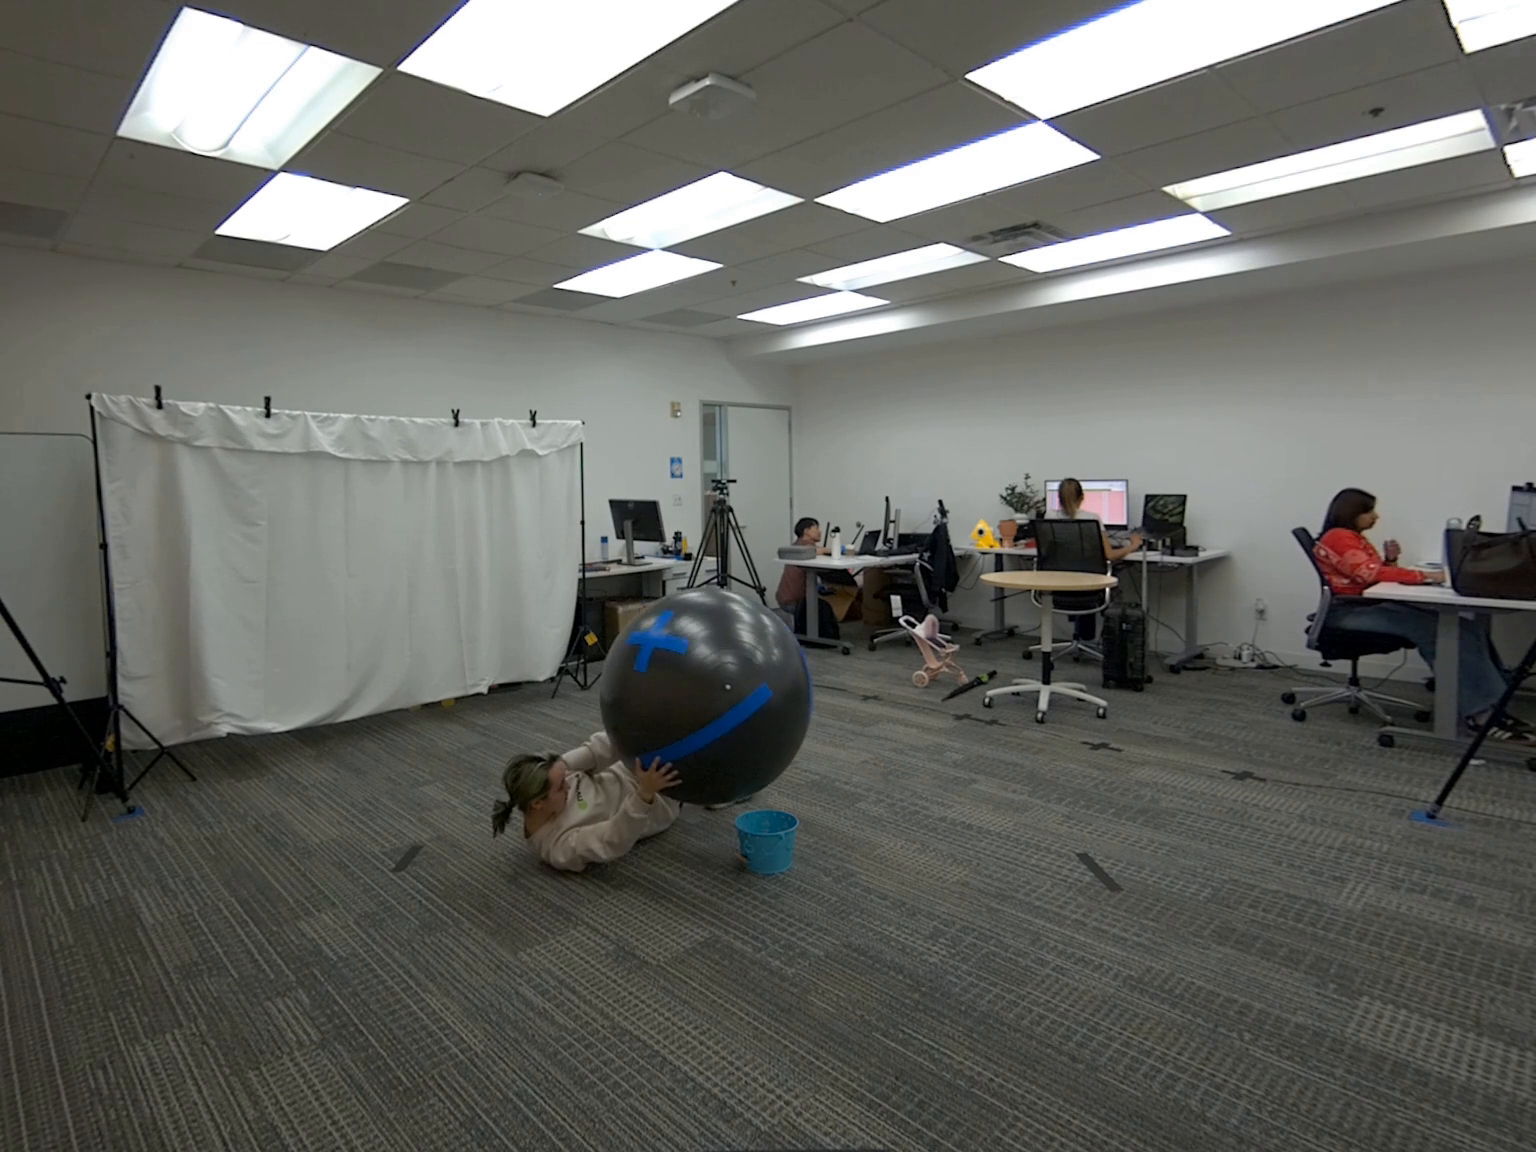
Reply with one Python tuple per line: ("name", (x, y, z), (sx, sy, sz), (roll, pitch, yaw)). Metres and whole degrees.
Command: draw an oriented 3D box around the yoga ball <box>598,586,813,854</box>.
("yoga ball", (-0.222, 0.423, 3.051), (0.757, 0.755, 0.762), (-1, 5, -2))
